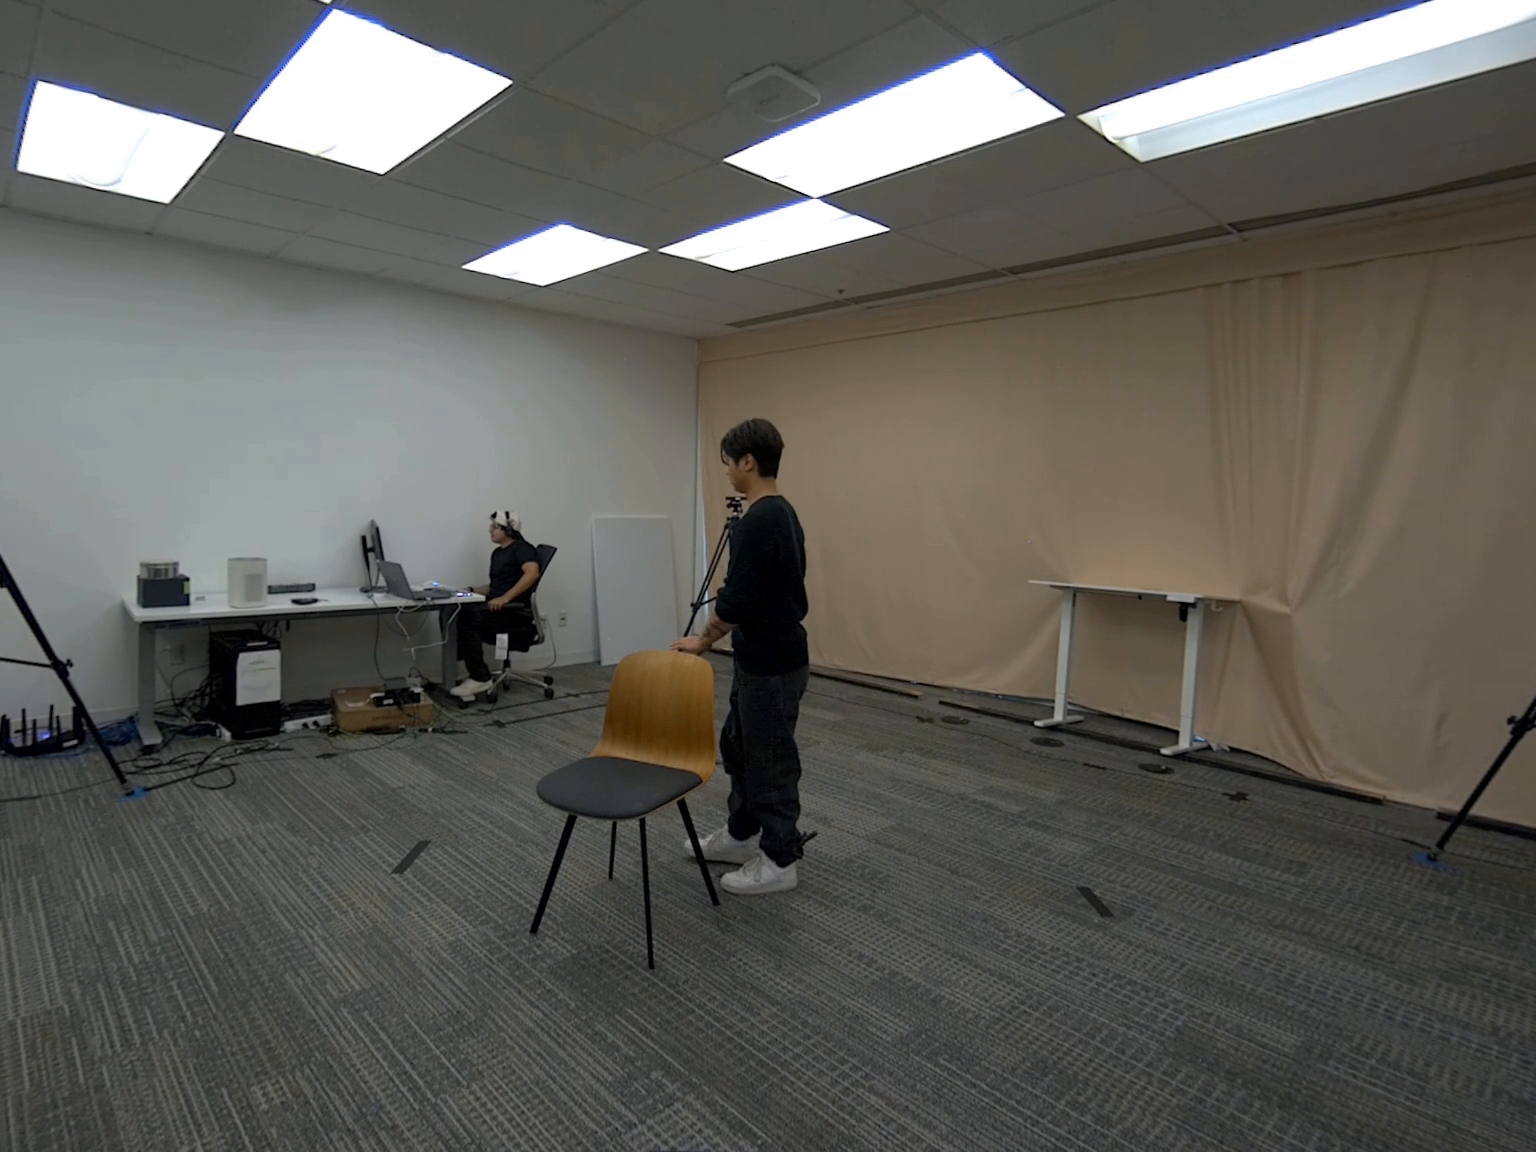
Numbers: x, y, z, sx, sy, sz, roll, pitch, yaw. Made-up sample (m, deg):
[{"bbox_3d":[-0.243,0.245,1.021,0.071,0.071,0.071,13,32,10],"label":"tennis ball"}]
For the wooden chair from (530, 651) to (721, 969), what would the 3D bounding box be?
[{"bbox_3d":[-0.453,0.707,2.729,0.487,0.878,0.513,3,-1,24],"label":"wooden chair"}]
